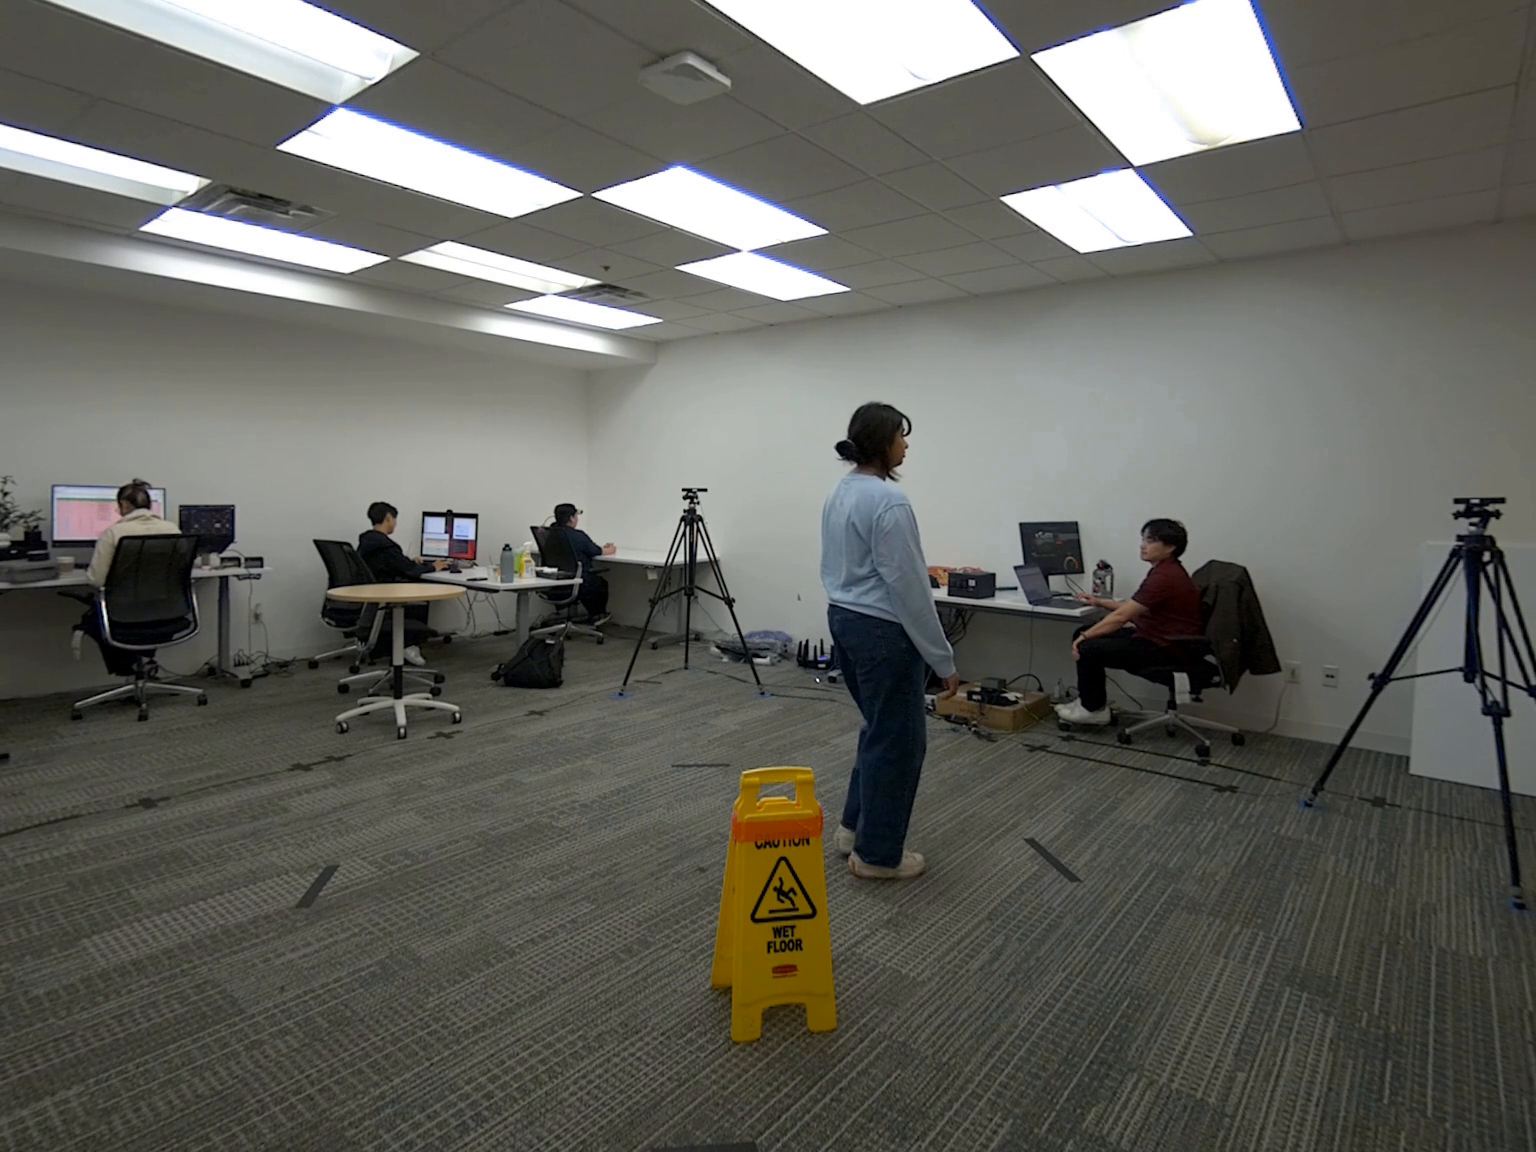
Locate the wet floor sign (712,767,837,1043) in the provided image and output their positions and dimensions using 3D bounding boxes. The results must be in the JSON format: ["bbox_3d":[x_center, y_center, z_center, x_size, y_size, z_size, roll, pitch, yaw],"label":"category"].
[{"bbox_3d":[0.009,0.832,2.267,0.278,0.644,0.295,1,3,-15],"label":"wet floor sign"}]
